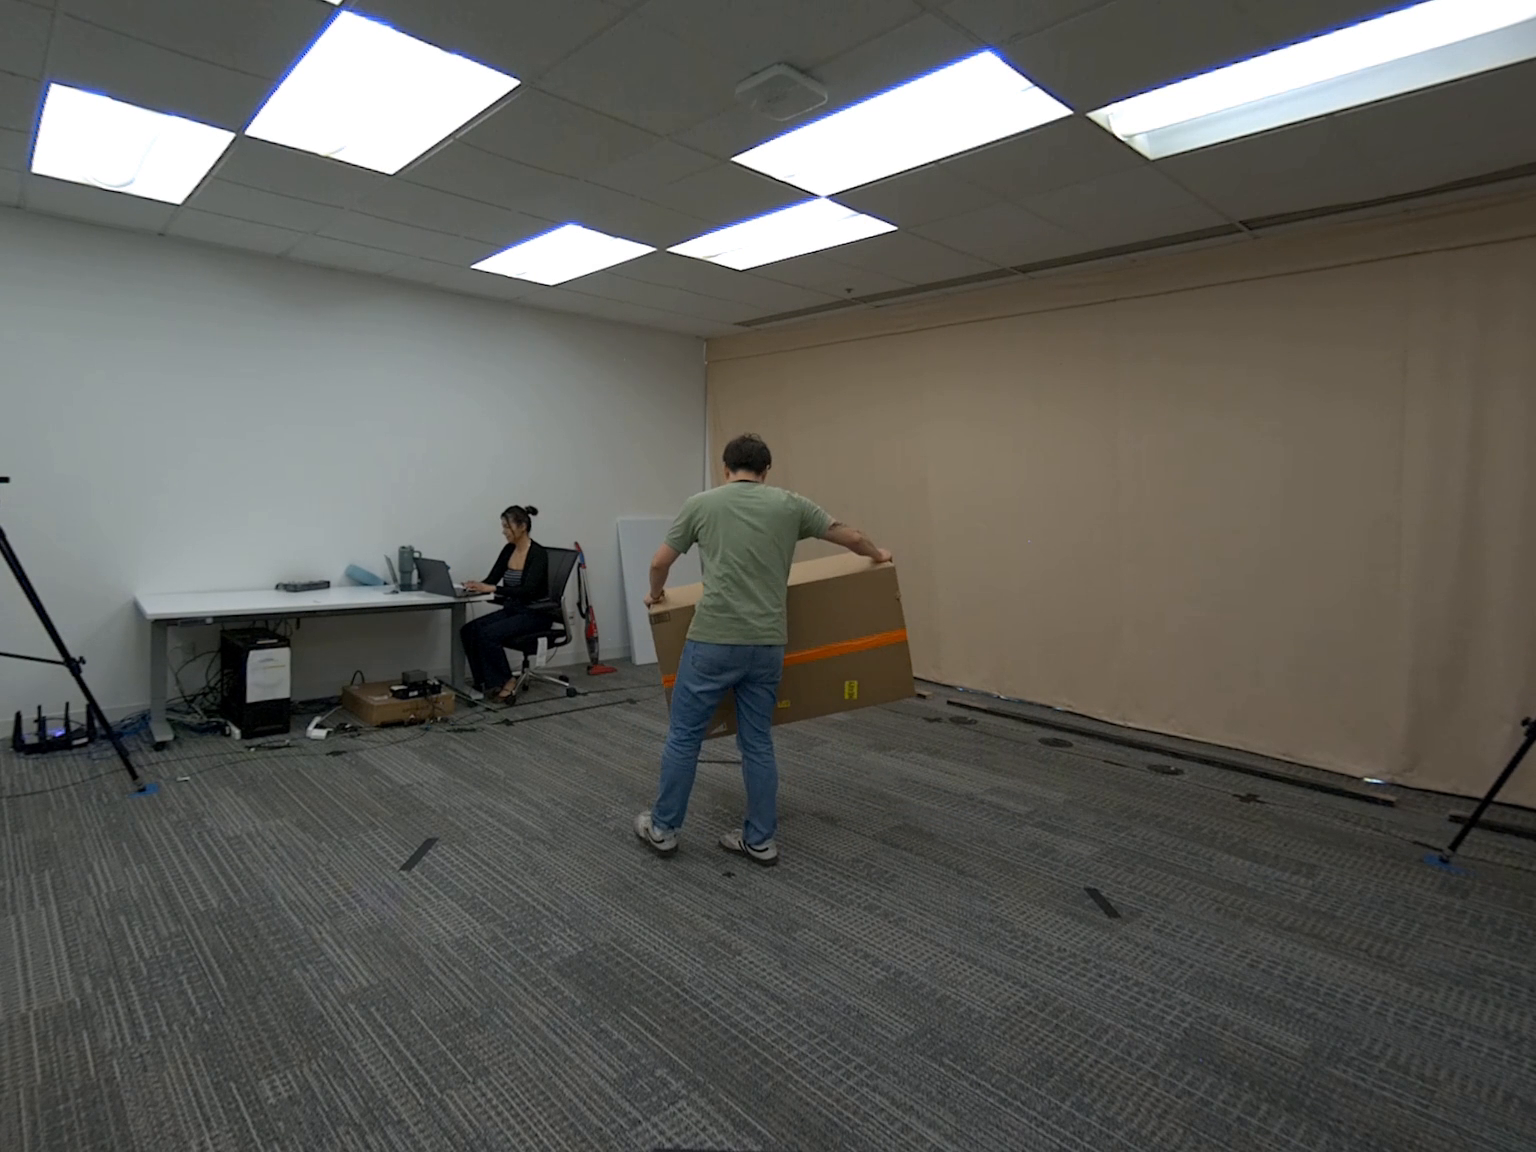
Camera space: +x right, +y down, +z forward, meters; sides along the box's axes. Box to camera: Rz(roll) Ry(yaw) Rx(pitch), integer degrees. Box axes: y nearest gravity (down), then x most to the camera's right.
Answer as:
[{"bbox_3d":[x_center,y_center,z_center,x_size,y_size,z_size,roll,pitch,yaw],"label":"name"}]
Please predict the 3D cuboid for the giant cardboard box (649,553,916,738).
[{"bbox_3d":[0.033,0.293,3.643,1.024,0.572,0.431,-11,11,-2],"label":"giant cardboard box"}]
